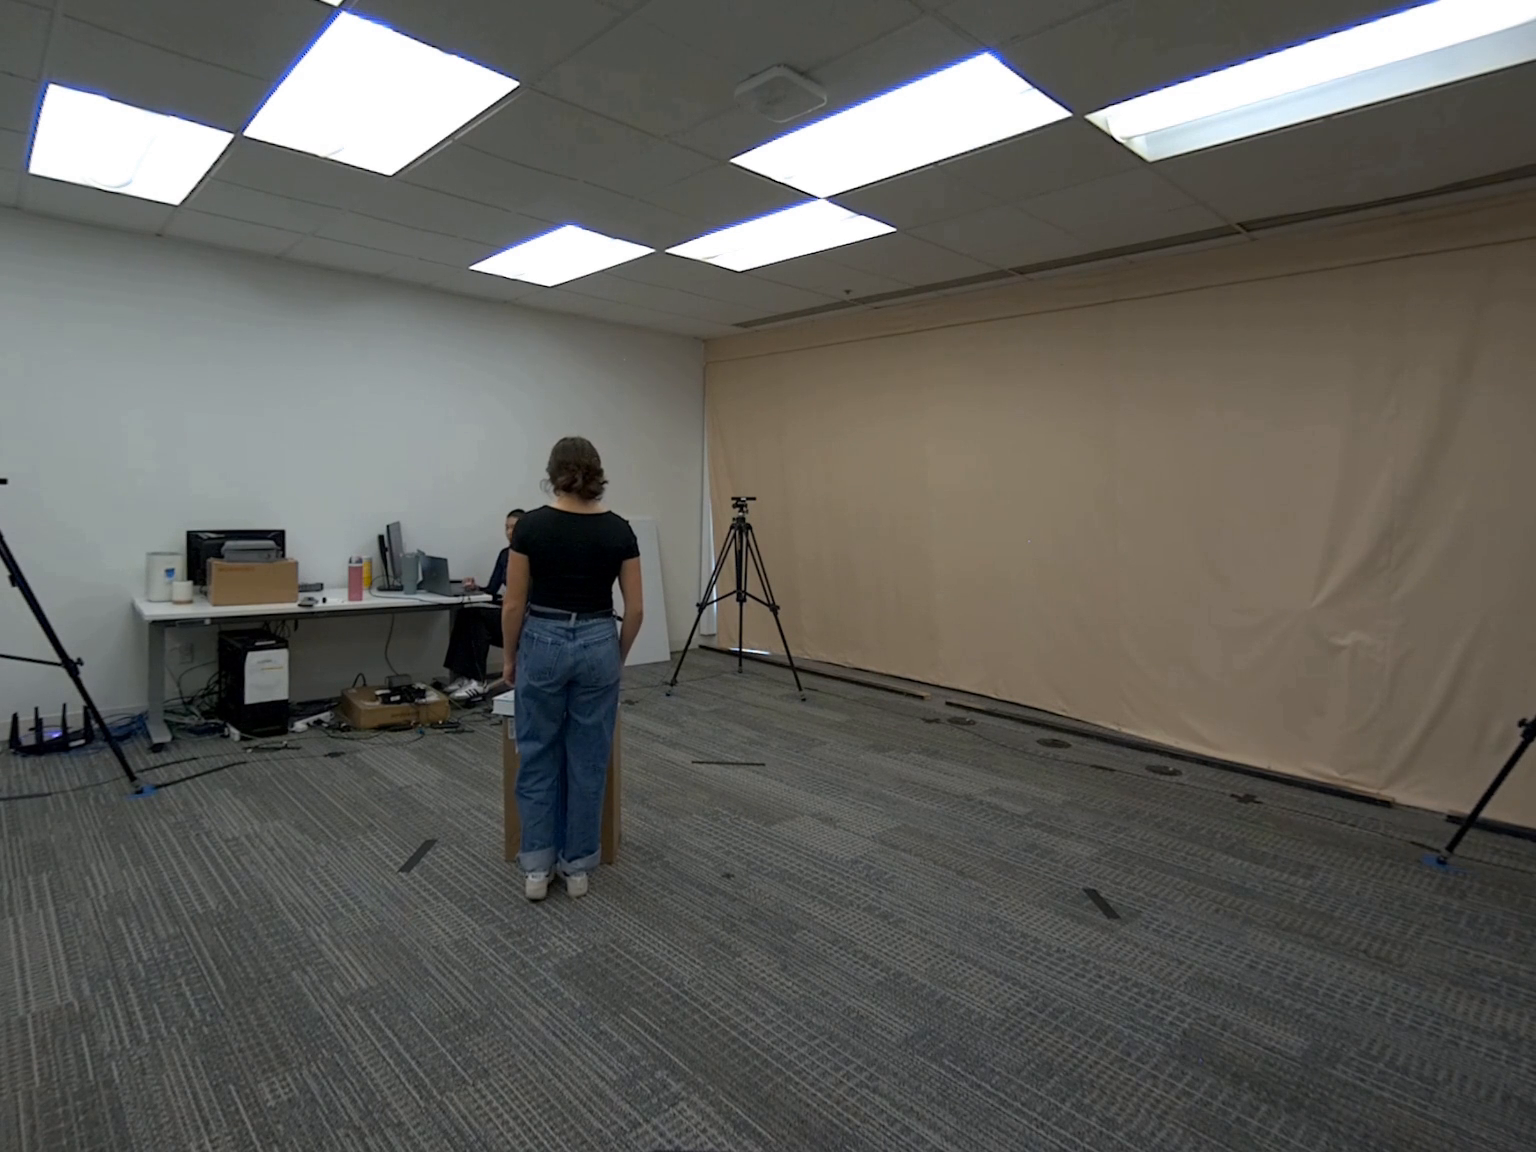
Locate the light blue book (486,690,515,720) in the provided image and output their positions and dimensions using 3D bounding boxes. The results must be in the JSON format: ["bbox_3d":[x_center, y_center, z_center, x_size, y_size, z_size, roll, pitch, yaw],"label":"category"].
[{"bbox_3d":[-0.926,0.488,3.249,0.193,0.059,0.259,3,5,13],"label":"light blue book"}]
